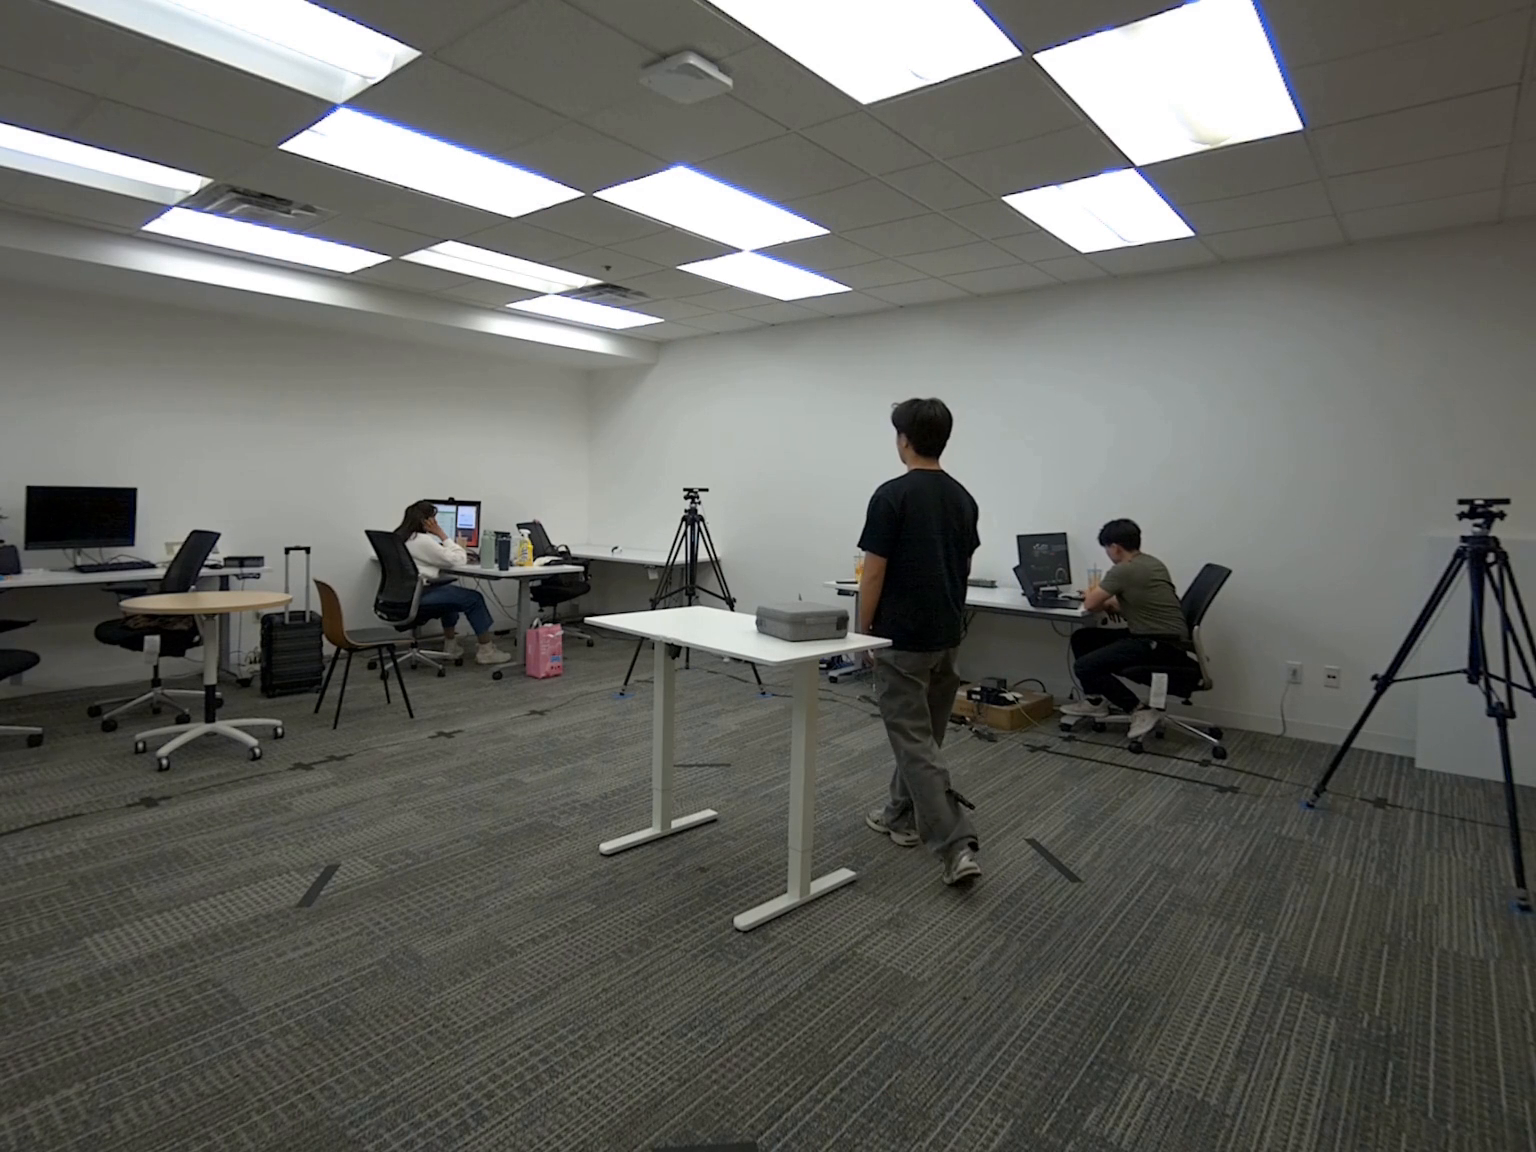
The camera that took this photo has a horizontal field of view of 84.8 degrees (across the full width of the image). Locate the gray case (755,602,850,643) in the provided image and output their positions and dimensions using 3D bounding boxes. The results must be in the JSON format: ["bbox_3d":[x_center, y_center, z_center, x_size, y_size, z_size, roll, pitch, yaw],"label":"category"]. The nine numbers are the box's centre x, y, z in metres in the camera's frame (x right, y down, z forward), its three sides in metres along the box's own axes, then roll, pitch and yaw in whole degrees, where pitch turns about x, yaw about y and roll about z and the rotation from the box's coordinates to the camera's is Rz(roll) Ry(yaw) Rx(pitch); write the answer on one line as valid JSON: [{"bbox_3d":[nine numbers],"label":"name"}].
[{"bbox_3d":[0.102,0.154,3.008,0.256,0.103,0.296,-2,6,-29],"label":"gray case"}]
